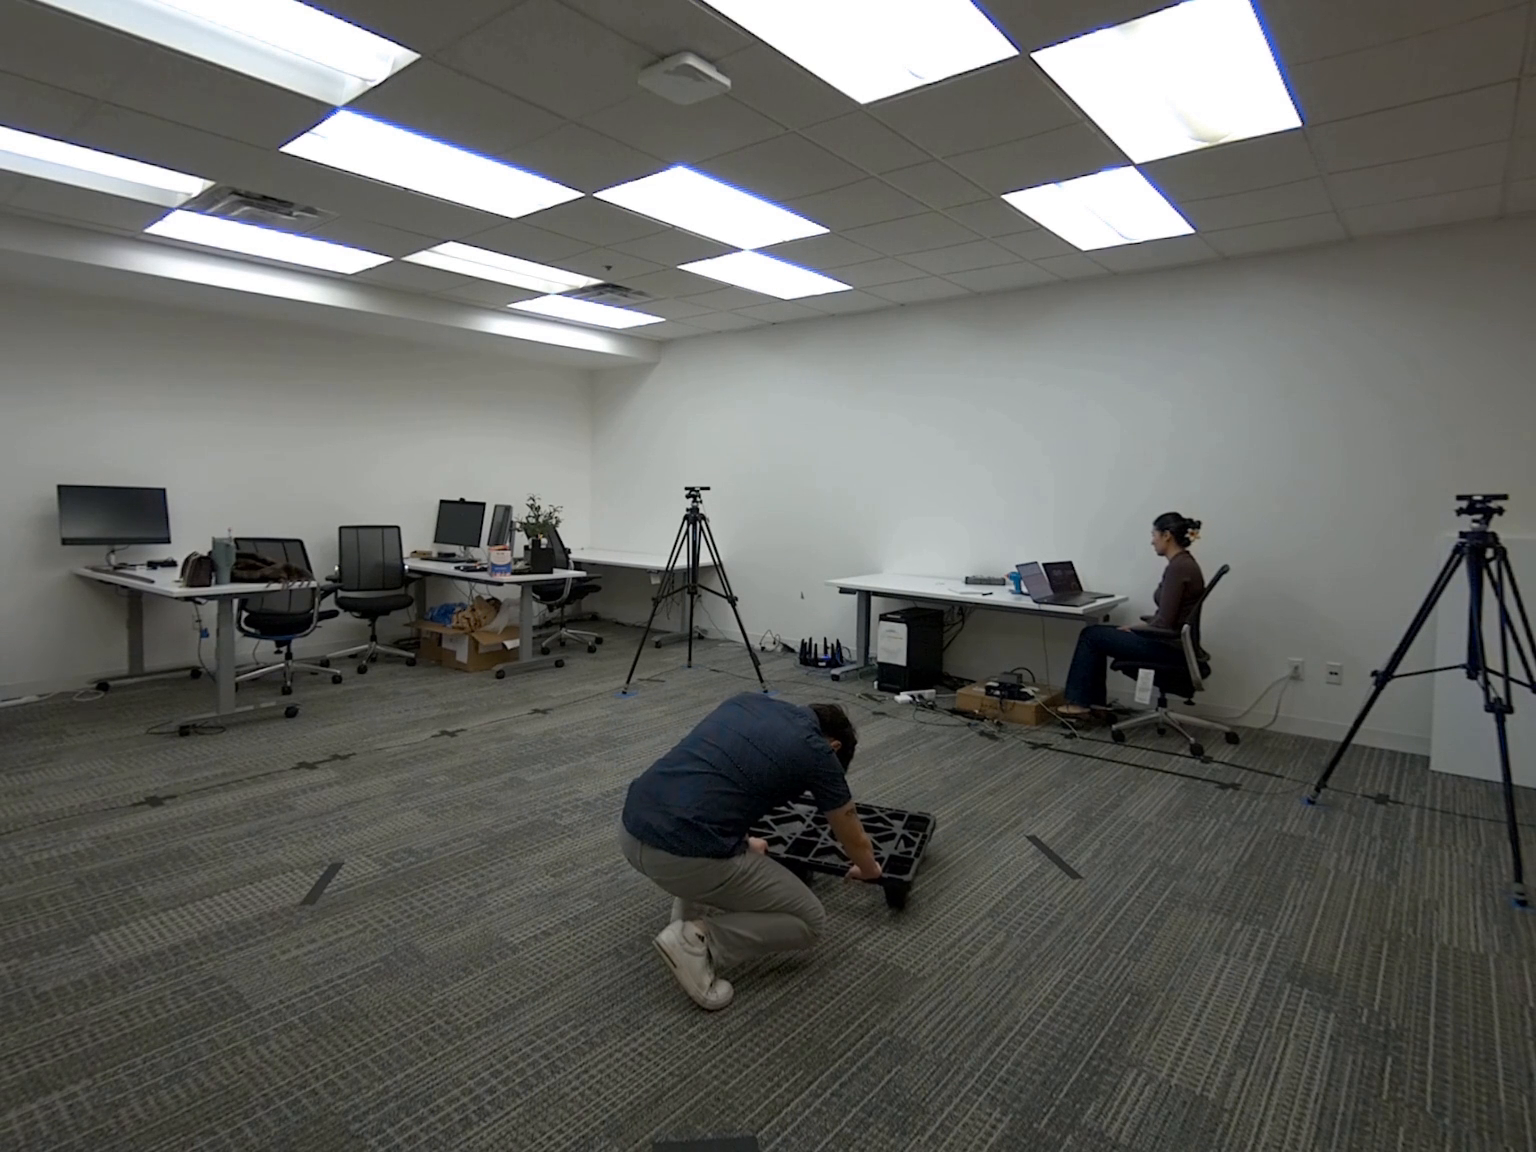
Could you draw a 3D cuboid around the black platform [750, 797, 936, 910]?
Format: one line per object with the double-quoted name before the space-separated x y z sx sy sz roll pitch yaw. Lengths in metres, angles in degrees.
"black platform" 0.174 0.992 3.184 0.824 0.143 0.594 4 6 21
